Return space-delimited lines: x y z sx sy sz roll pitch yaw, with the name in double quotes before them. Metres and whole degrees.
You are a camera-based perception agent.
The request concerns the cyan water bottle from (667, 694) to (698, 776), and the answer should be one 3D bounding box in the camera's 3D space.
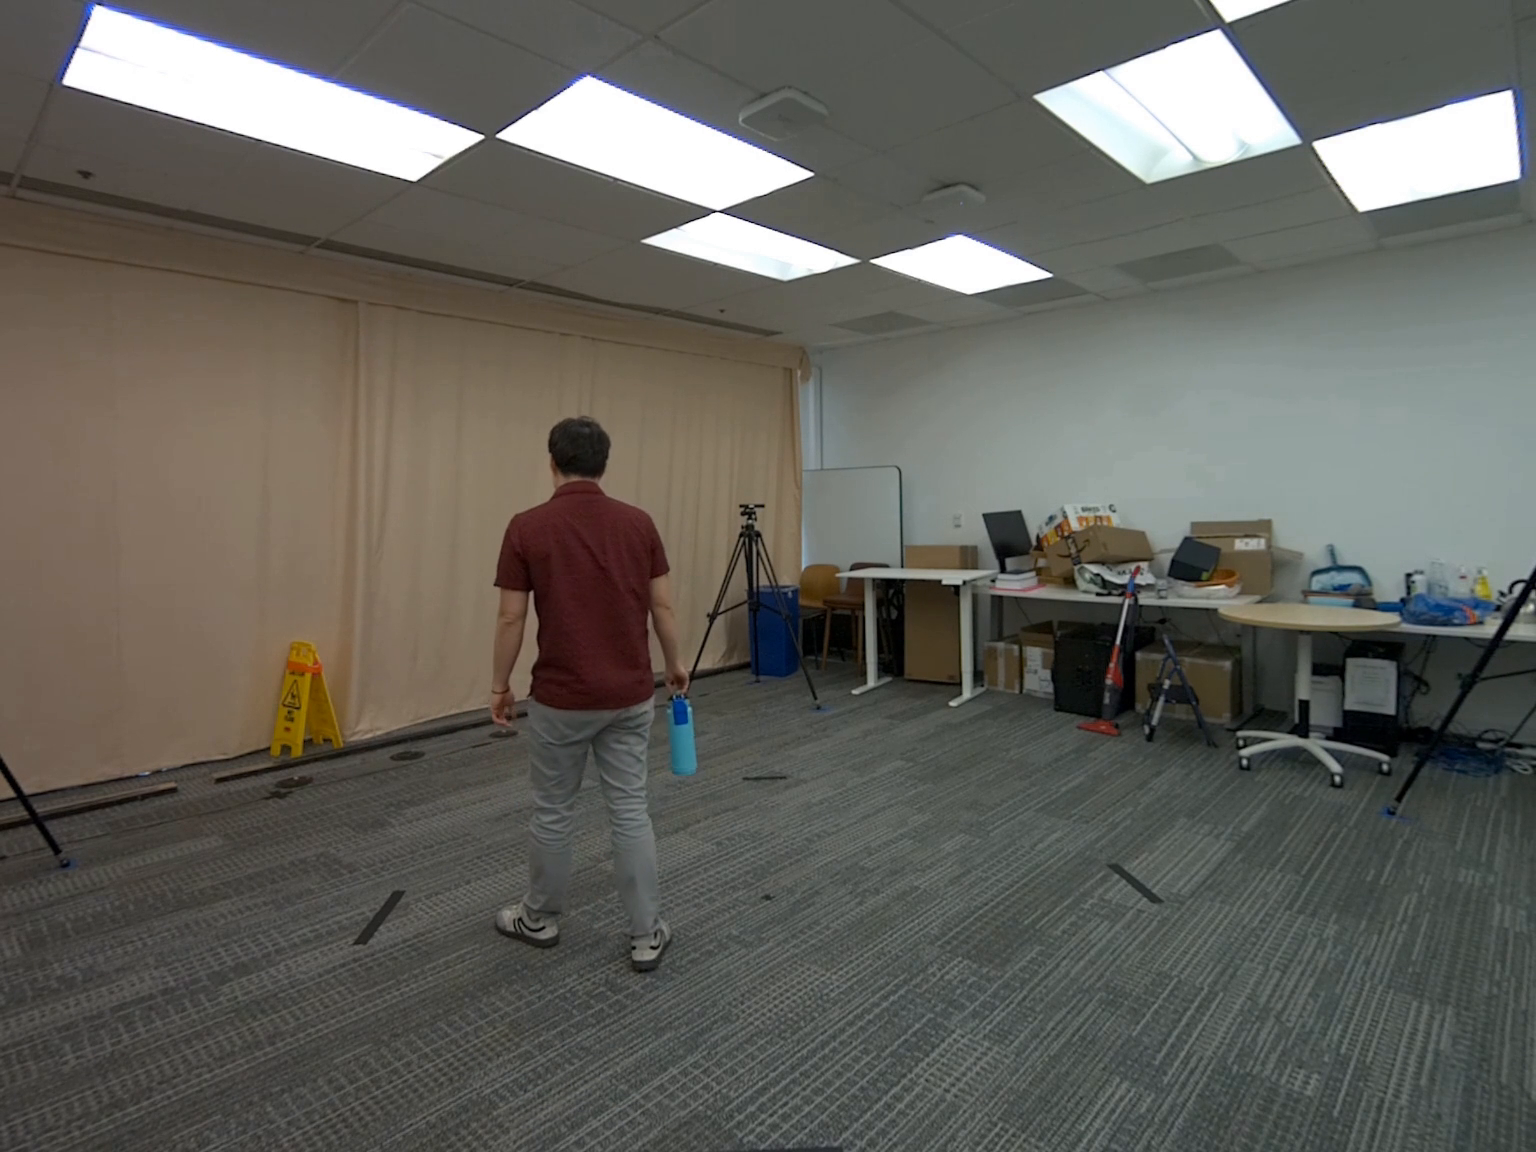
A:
"cyan water bottle" -0.304 0.536 2.898 0.092 0.283 0.092 -5 3 -2
